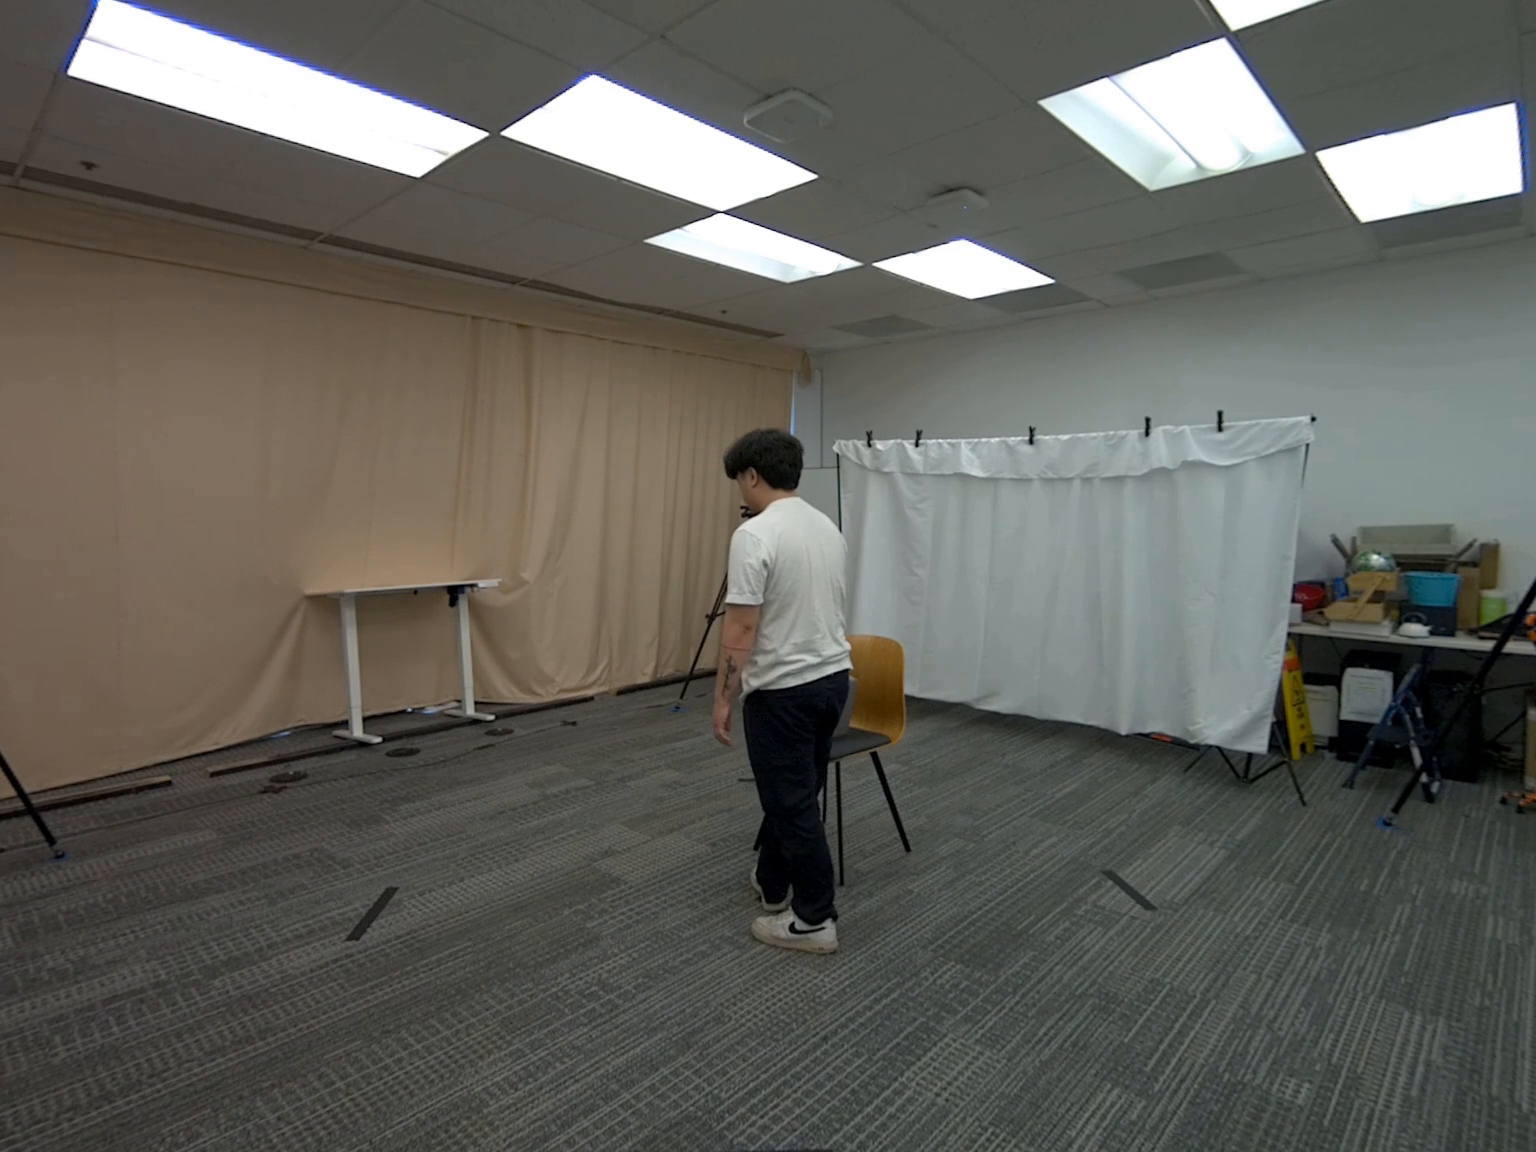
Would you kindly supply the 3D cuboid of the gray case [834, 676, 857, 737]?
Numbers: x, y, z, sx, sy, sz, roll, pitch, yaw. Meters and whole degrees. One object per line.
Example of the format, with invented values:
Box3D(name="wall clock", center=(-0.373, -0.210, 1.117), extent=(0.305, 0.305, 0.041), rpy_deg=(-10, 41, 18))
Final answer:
Box3D(name="gray case", center=(0.230, 0.509, 3.325), extent=(0.248, 0.260, 0.108), rpy_deg=(2, 10, -44))
